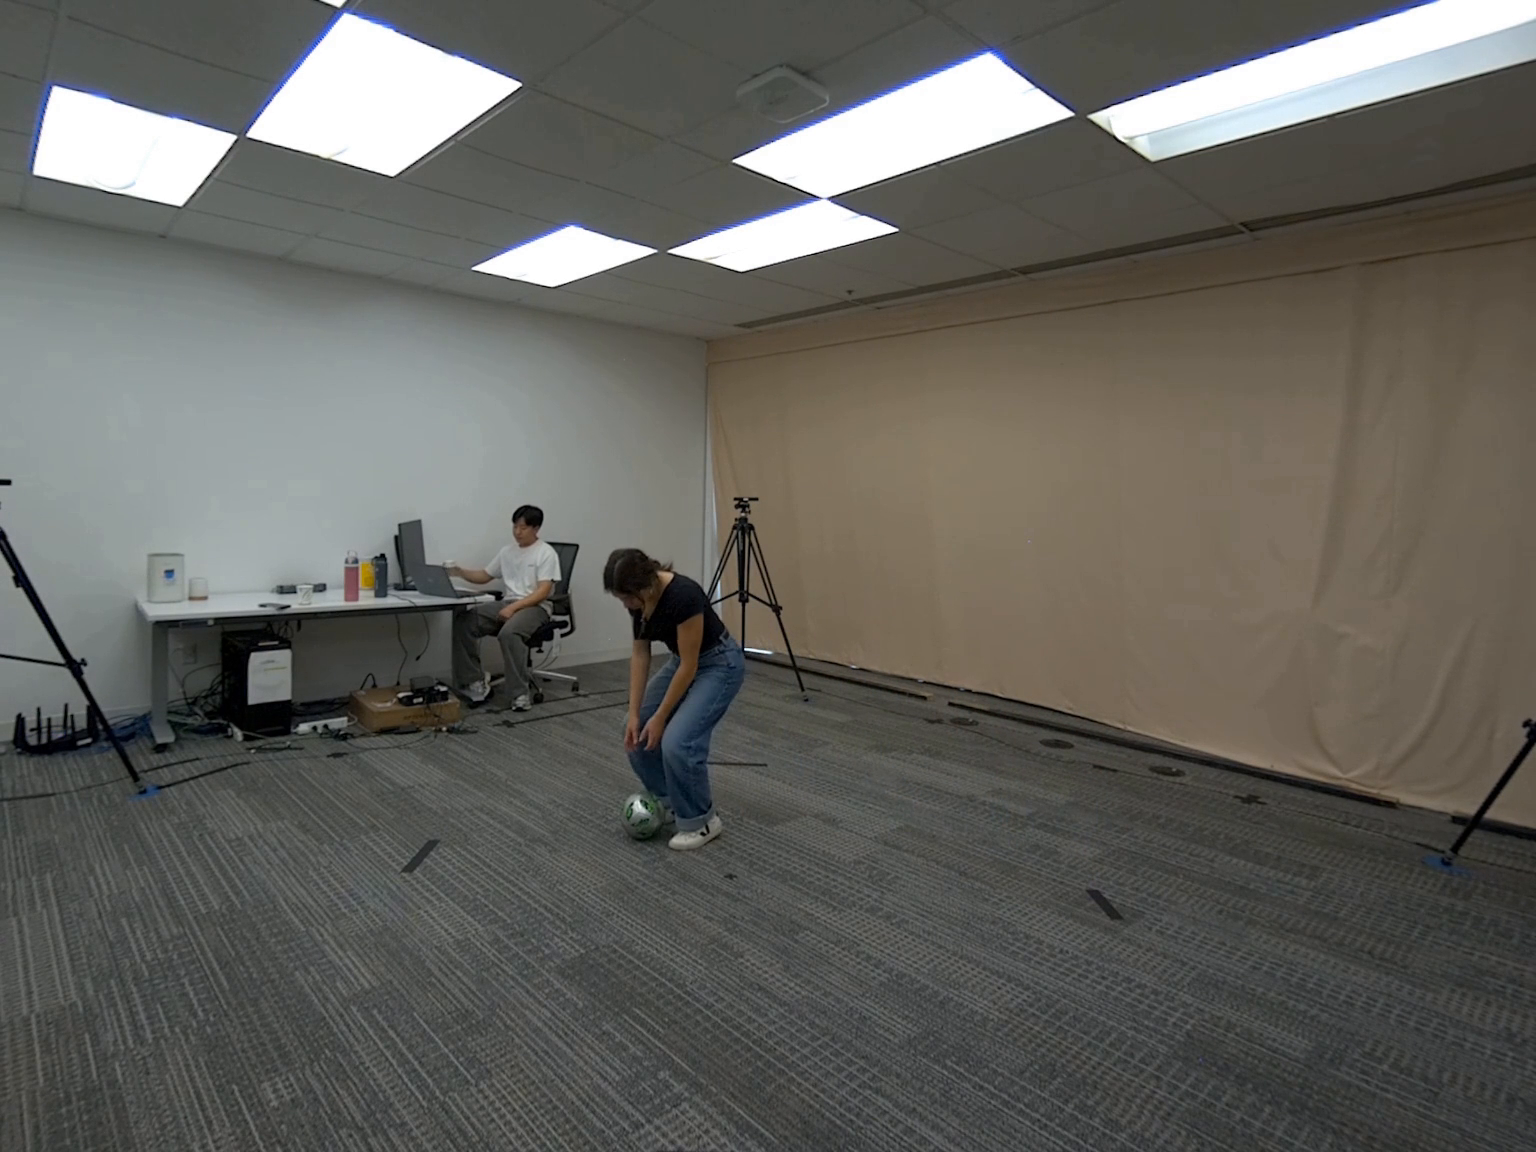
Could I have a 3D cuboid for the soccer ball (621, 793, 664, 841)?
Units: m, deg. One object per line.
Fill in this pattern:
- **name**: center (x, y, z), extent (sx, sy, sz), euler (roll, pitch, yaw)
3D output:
- **soccer ball**: center (-0.520, 0.965, 3.437), extent (0.187, 0.187, 0.188), euler (1, 4, -1)
